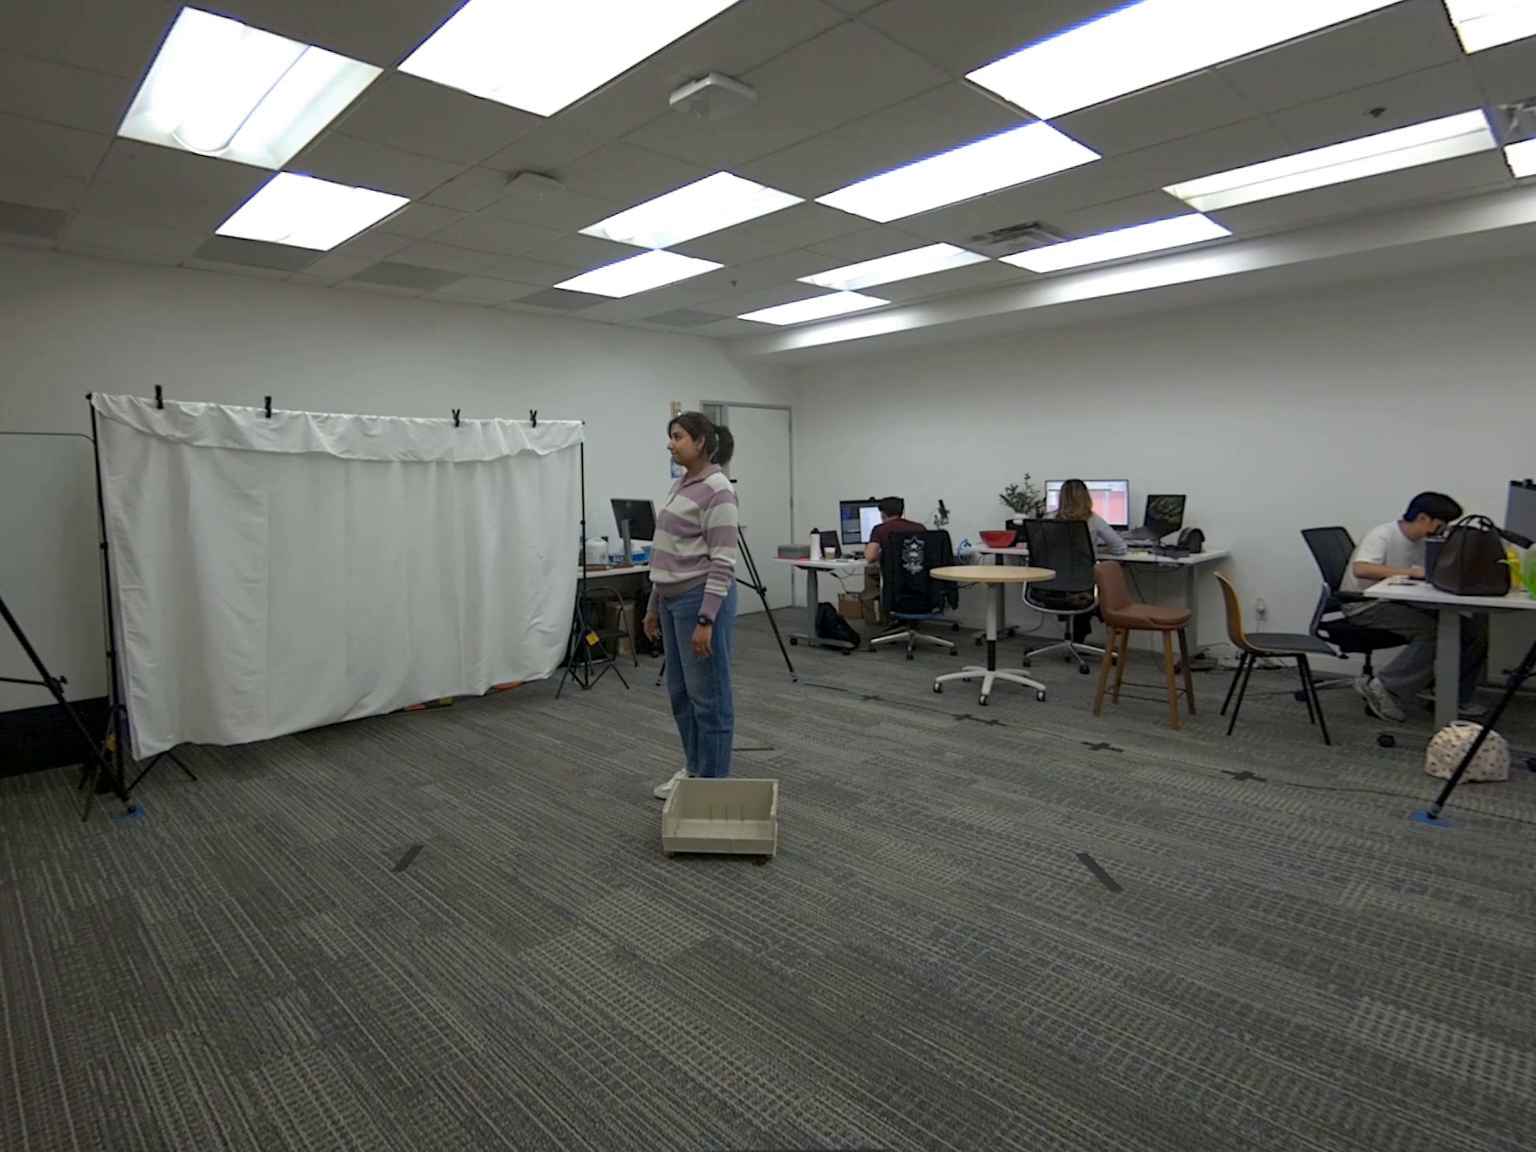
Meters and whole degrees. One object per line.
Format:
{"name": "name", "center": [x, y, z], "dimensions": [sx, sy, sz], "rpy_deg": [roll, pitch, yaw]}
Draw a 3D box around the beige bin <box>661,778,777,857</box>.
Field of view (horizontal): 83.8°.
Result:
{"name": "beige bin", "center": [-0.174, 0.937, 3.305], "dimensions": [0.424, 0.188, 0.377], "rpy_deg": [-1, 5, 4]}
